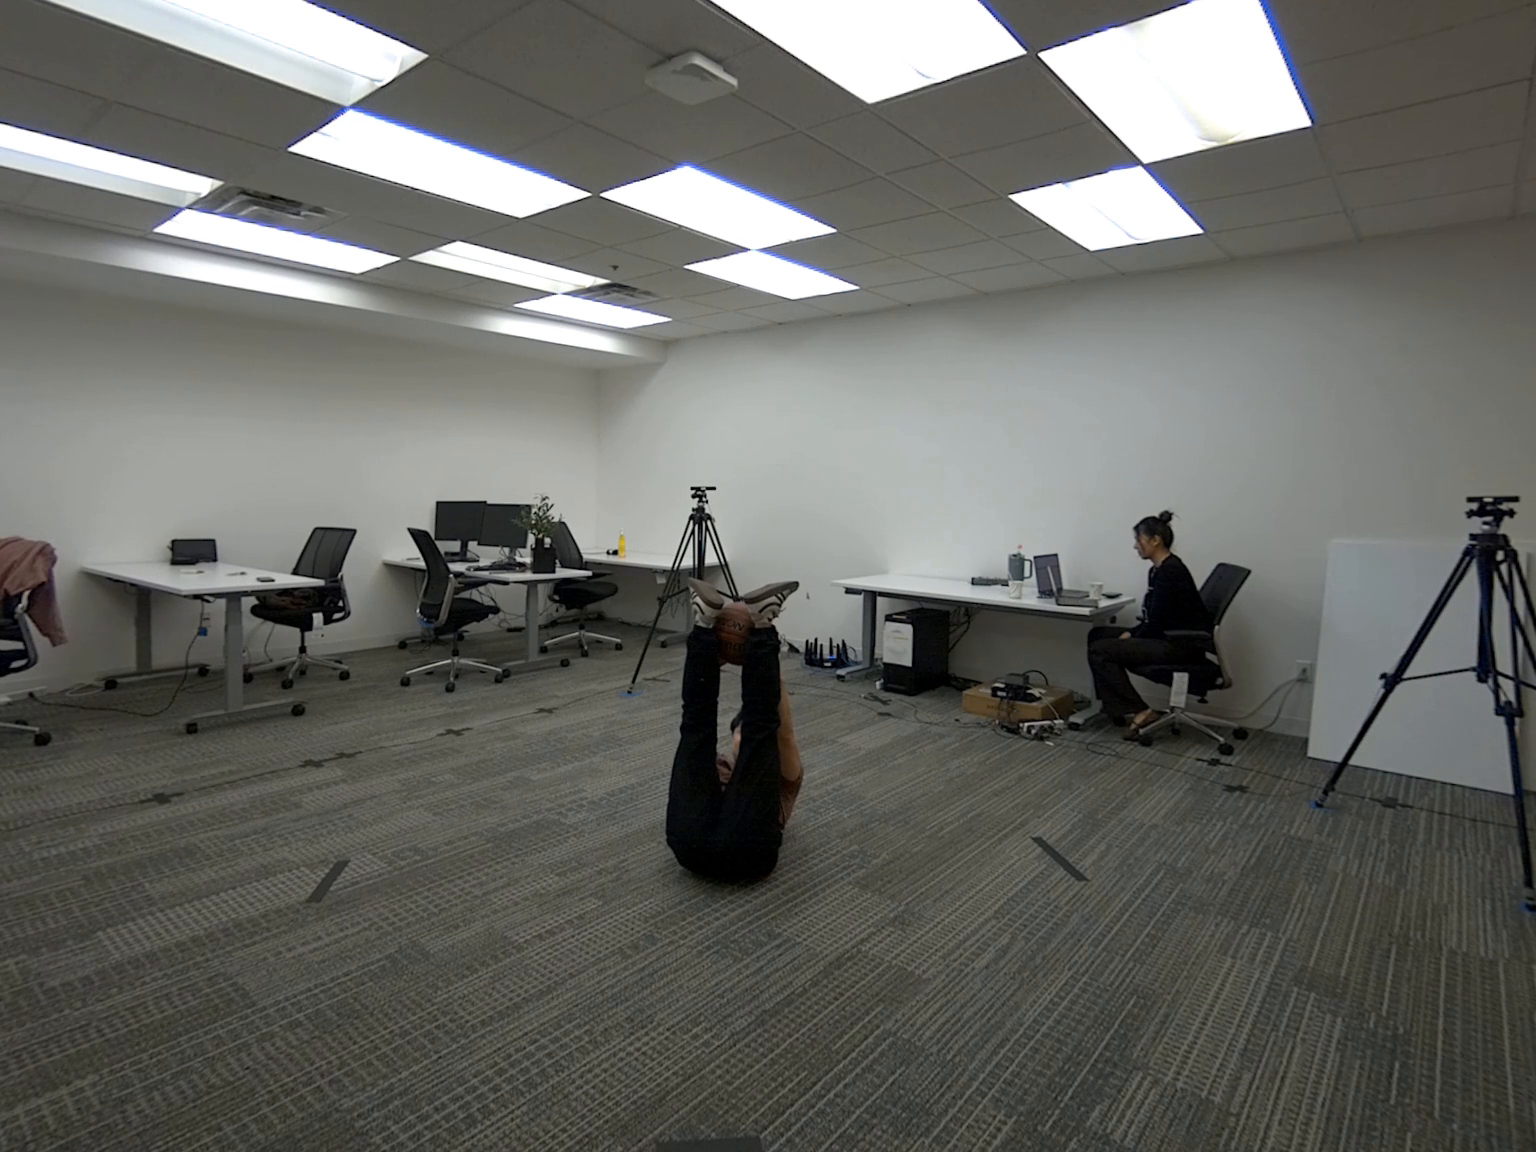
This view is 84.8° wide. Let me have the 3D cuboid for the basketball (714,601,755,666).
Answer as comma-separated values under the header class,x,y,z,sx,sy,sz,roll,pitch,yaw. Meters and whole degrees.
class,x,y,z,sx,sy,sz,roll,pitch,yaw
basketball,-0.104,0.215,3.143,0.236,0.235,0.237,-3,3,-2
